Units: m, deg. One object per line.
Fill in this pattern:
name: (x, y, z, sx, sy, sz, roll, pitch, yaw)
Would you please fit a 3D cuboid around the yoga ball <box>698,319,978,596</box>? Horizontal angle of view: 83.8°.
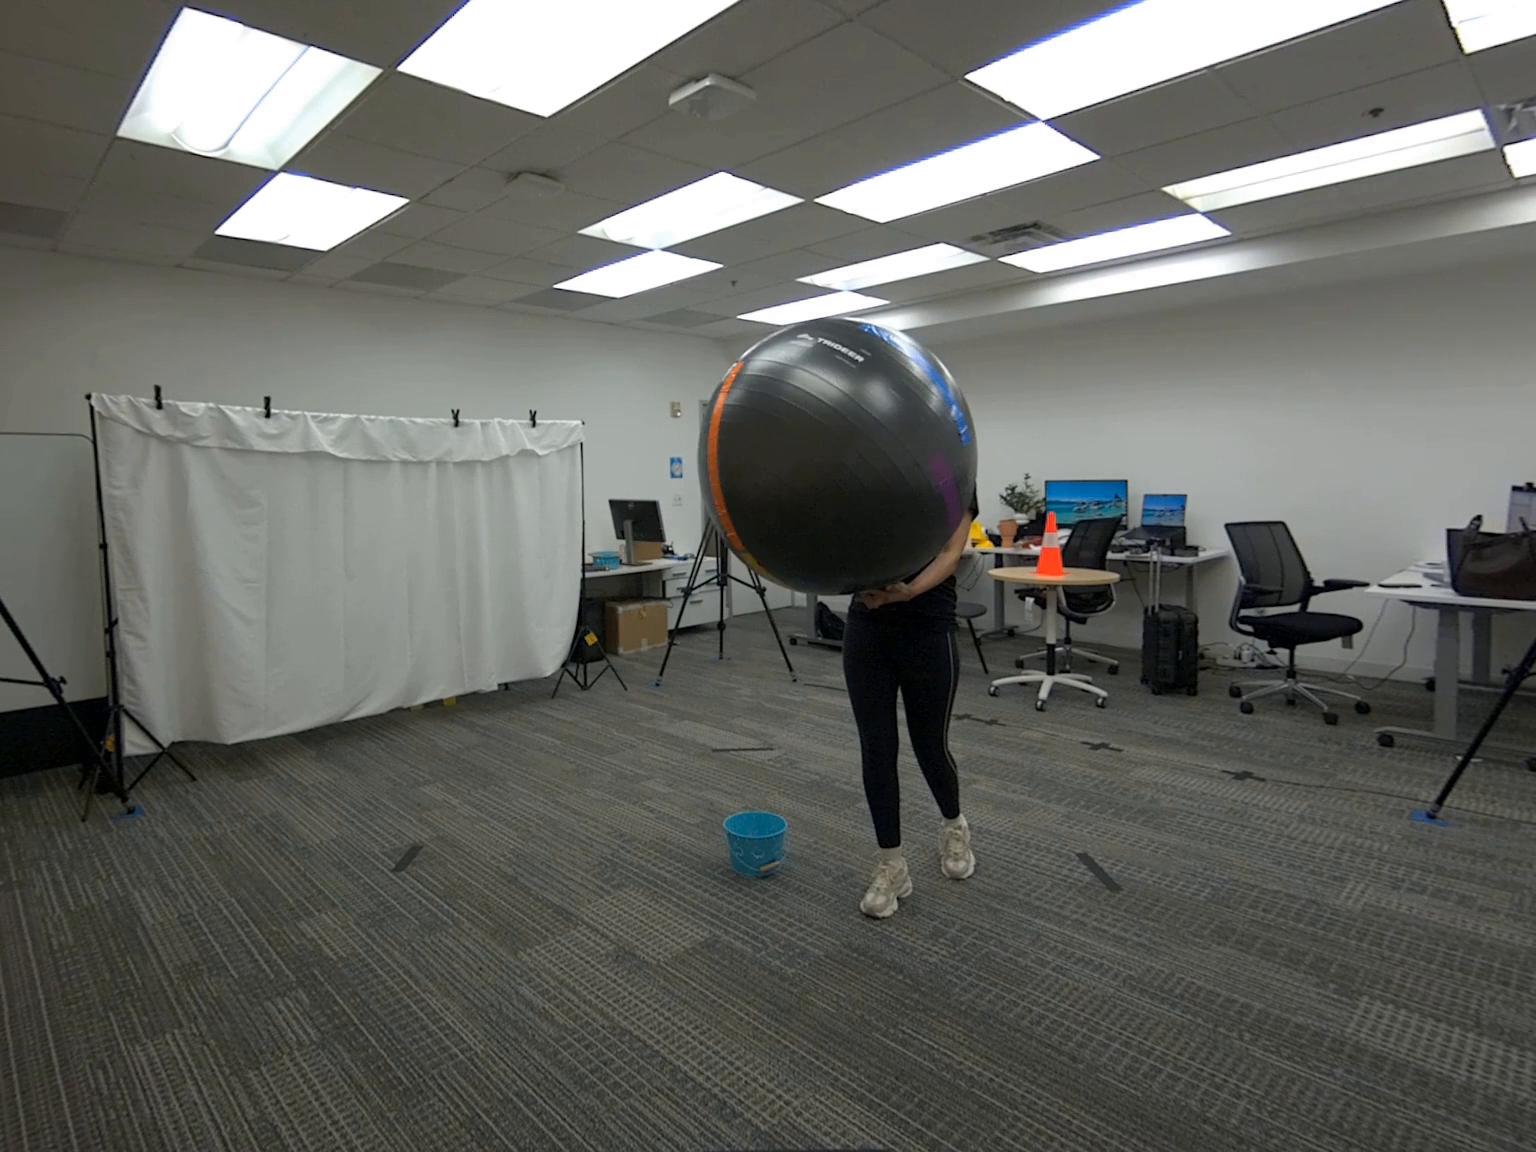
yoga ball: (0.189, -0.314, 2.346, 0.757, 0.755, 0.762, -1, 5, -2)
